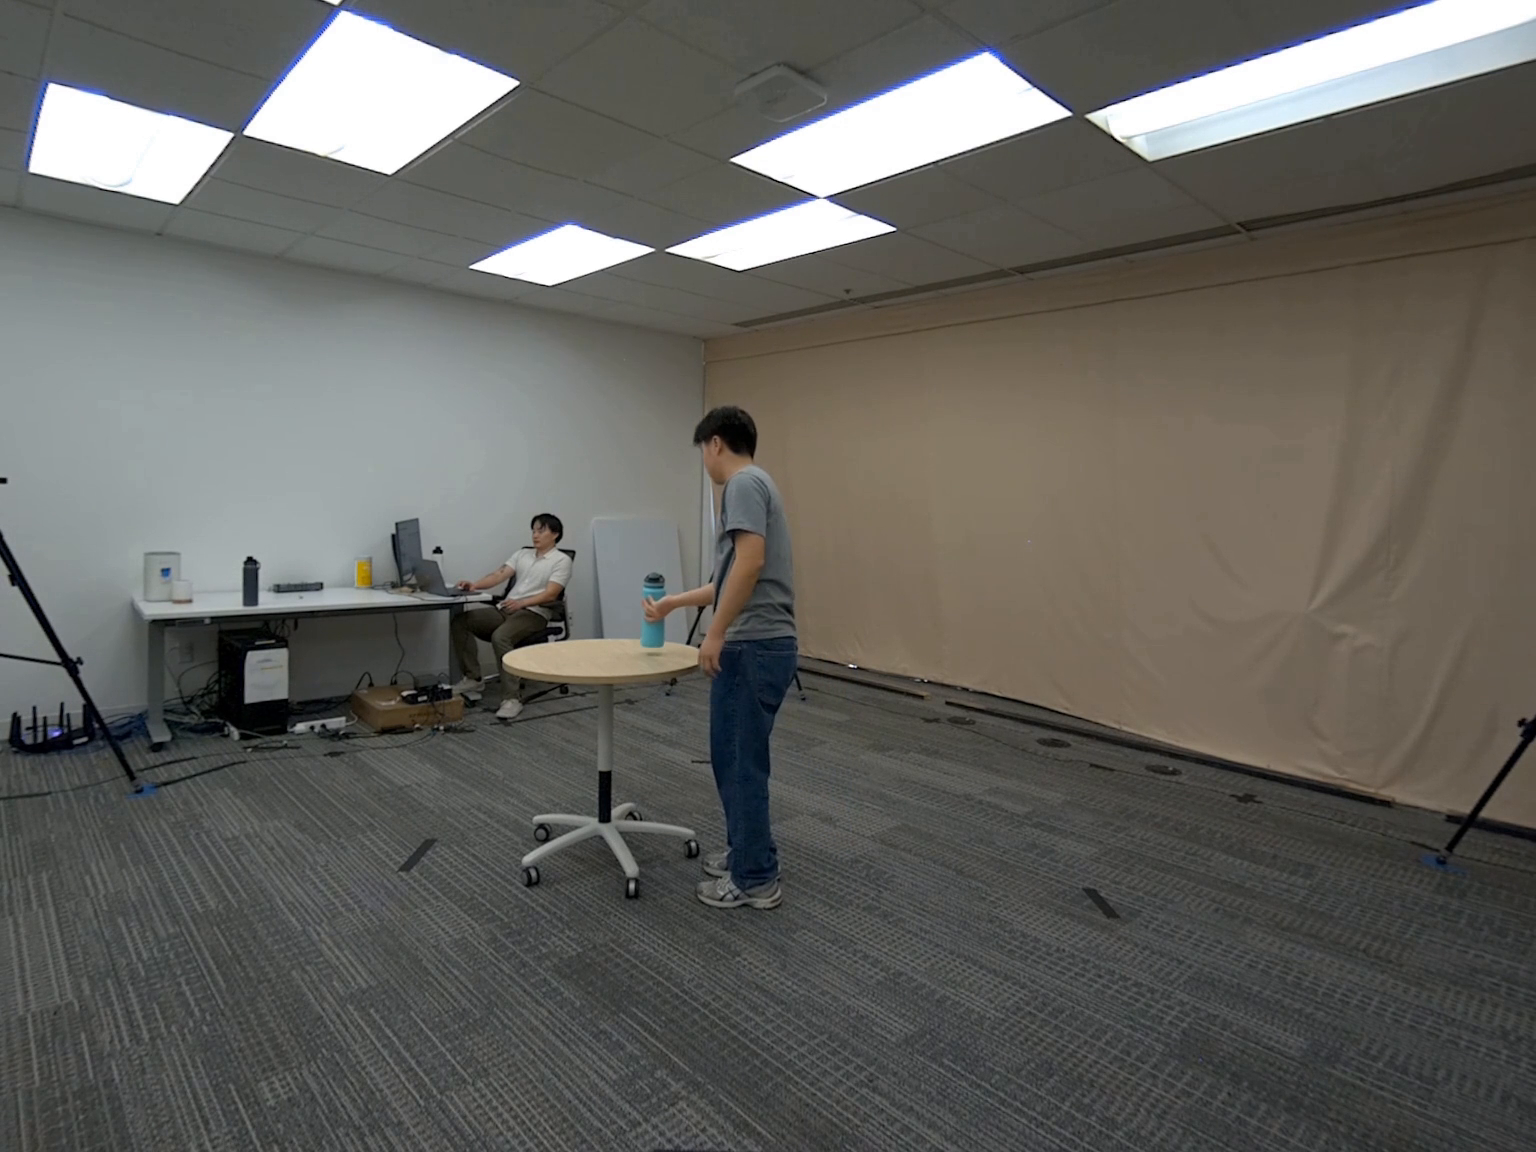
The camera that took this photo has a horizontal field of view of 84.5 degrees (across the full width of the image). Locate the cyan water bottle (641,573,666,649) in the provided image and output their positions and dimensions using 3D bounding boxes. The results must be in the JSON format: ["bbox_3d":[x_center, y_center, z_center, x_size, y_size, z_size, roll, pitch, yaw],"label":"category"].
[{"bbox_3d":[-0.447,0.129,3.225,0.092,0.282,0.093,2,5,-2],"label":"cyan water bottle"}]
